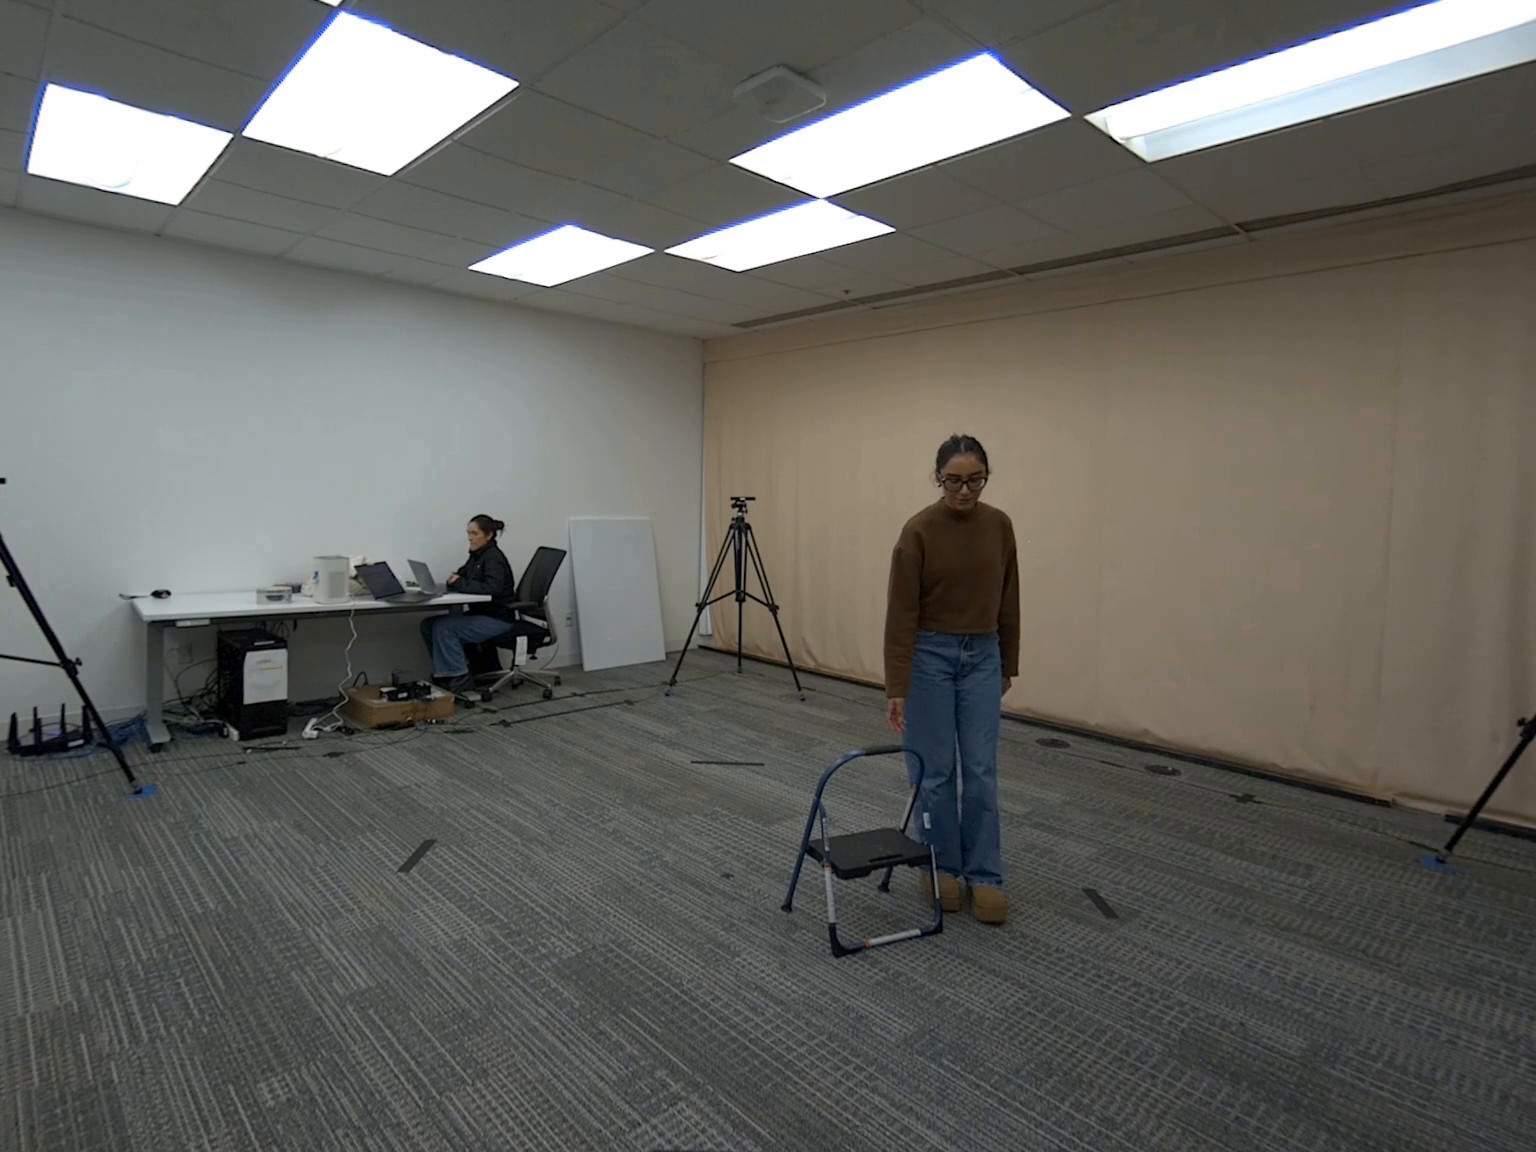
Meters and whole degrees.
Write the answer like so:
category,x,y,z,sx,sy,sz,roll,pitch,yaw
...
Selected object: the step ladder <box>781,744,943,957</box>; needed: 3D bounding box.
category,x,y,z,sx,sy,sz,roll,pitch,yaw
step ladder,0.313,0.844,2.778,0.422,0.604,0.357,0,4,-27
